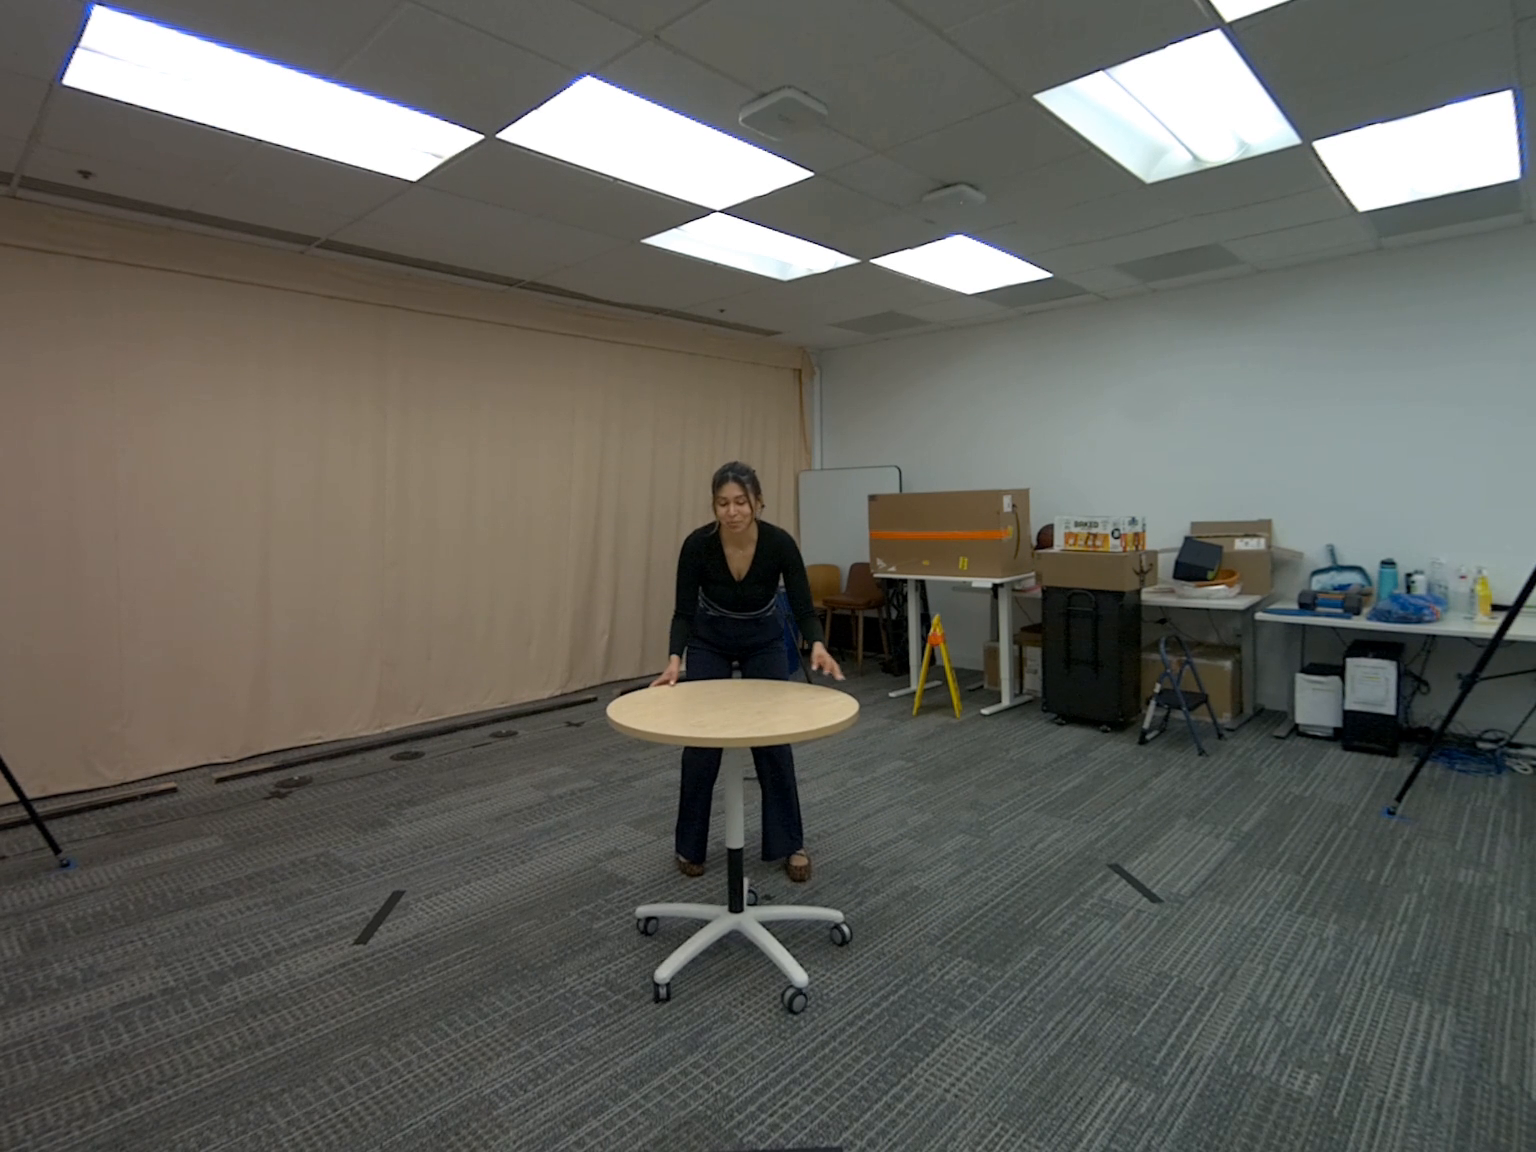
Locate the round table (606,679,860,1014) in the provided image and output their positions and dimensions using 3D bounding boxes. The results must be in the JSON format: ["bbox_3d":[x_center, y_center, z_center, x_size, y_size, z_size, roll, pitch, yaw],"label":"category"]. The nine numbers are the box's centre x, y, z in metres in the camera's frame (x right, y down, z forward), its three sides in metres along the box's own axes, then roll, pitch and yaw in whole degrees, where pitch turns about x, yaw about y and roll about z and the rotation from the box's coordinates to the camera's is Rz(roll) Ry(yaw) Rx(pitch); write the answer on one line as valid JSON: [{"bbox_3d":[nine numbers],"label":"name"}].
[{"bbox_3d":[-0.096,0.784,2.595,0.763,0.792,0.766,-1,4,-2],"label":"round table"}]
